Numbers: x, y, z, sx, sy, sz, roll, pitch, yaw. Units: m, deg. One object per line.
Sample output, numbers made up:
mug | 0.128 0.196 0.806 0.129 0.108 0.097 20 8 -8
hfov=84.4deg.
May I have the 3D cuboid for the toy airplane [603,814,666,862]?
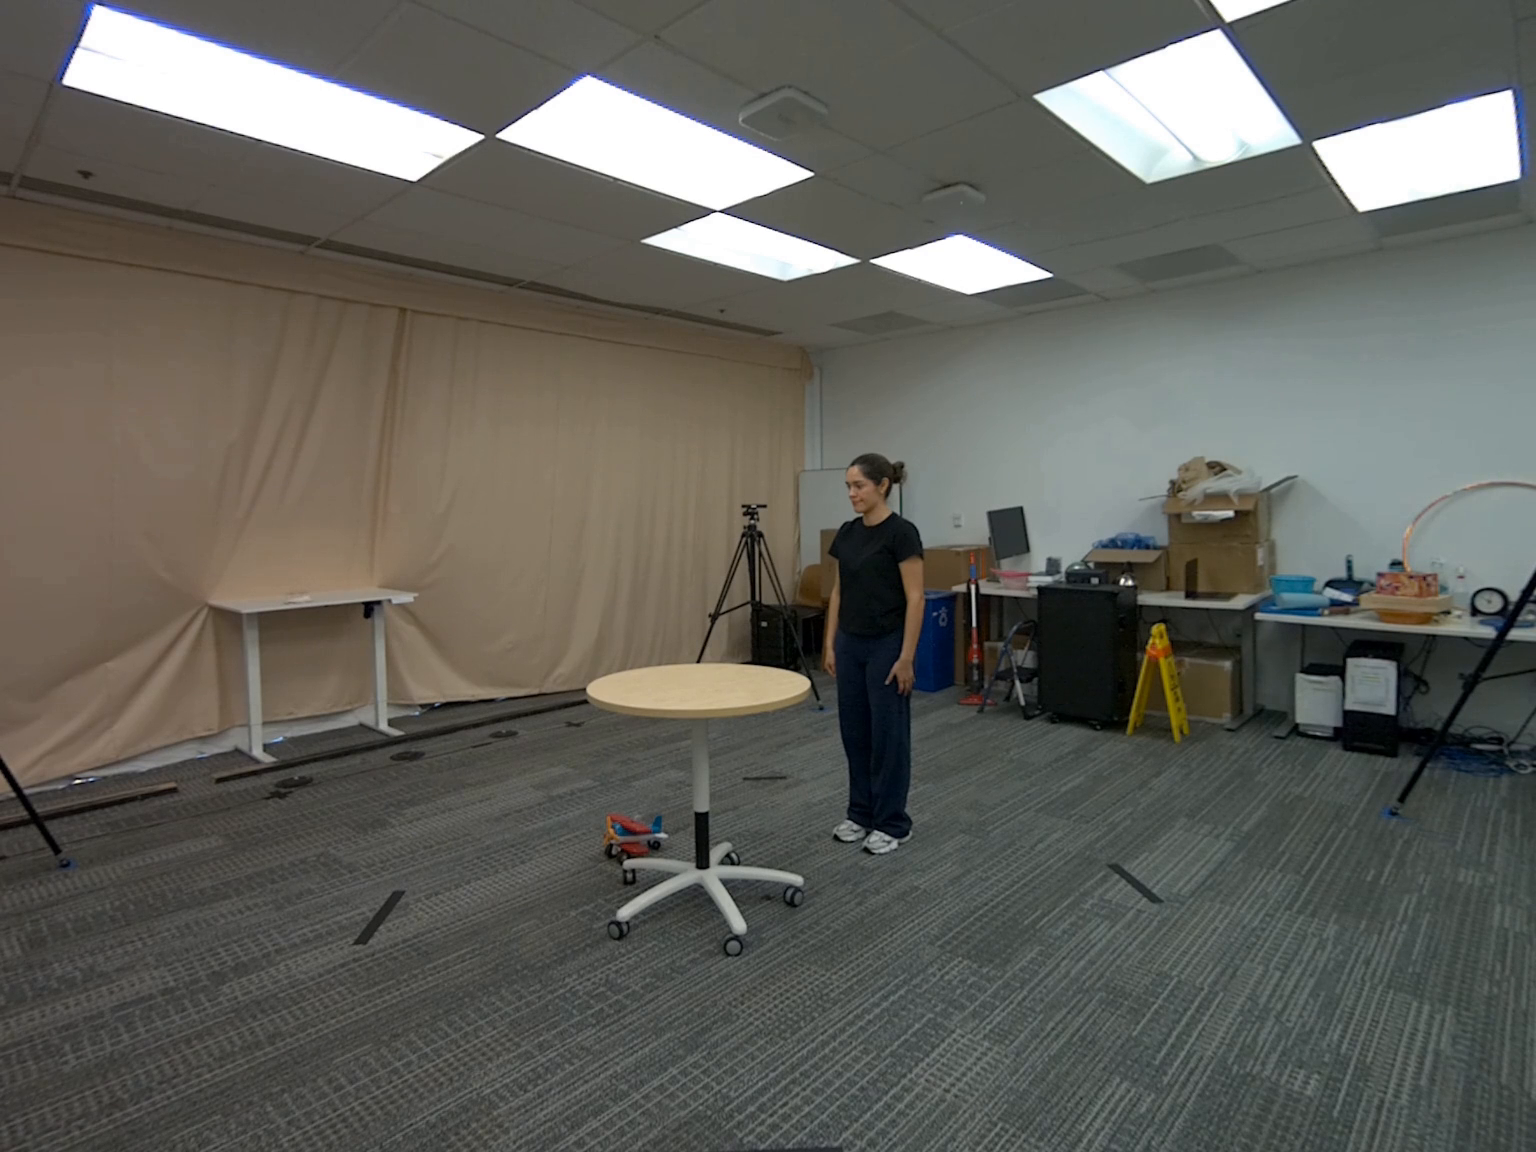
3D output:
toy airplane | -0.536 1.043 3.390 0.256 0.156 0.255 -1 7 20
